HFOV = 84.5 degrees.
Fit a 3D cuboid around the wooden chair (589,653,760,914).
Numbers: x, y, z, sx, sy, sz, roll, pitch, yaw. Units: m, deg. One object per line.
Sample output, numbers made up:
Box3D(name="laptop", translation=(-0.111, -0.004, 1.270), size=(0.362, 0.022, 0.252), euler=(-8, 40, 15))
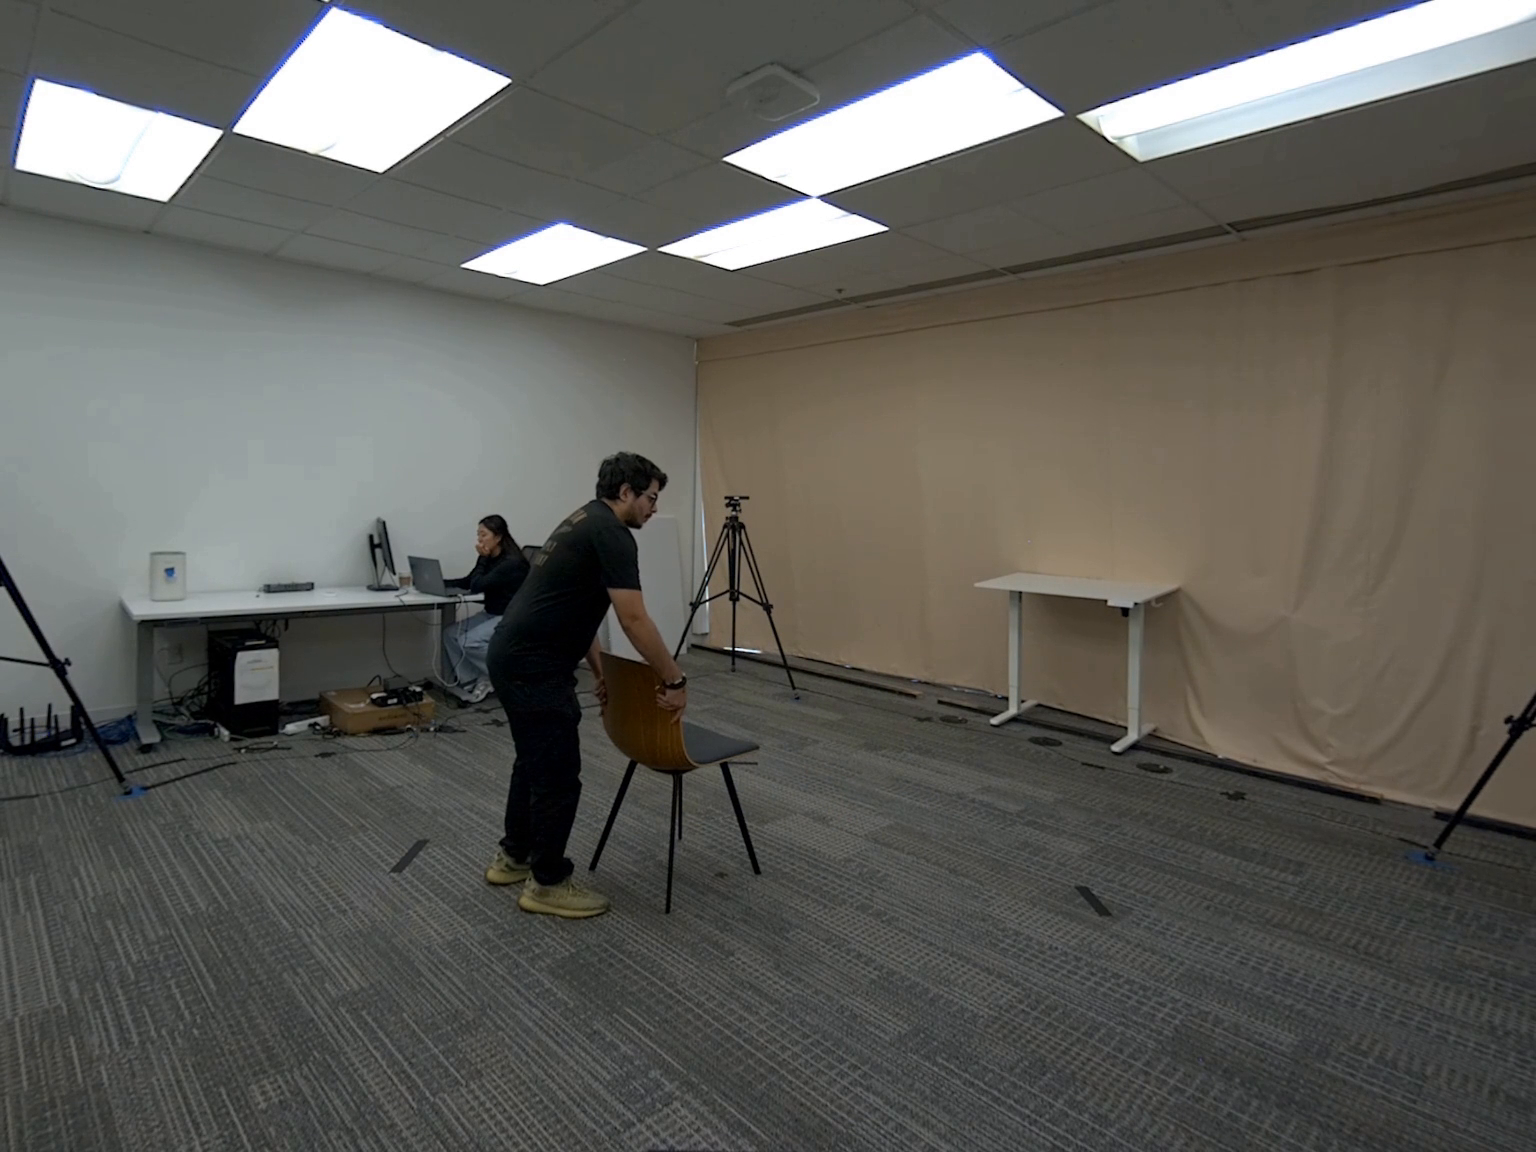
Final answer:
Box3D(name="wooden chair", translation=(-0.335, 0.670, 3.095), size=(0.490, 0.873, 0.512), euler=(4, 9, 44))
